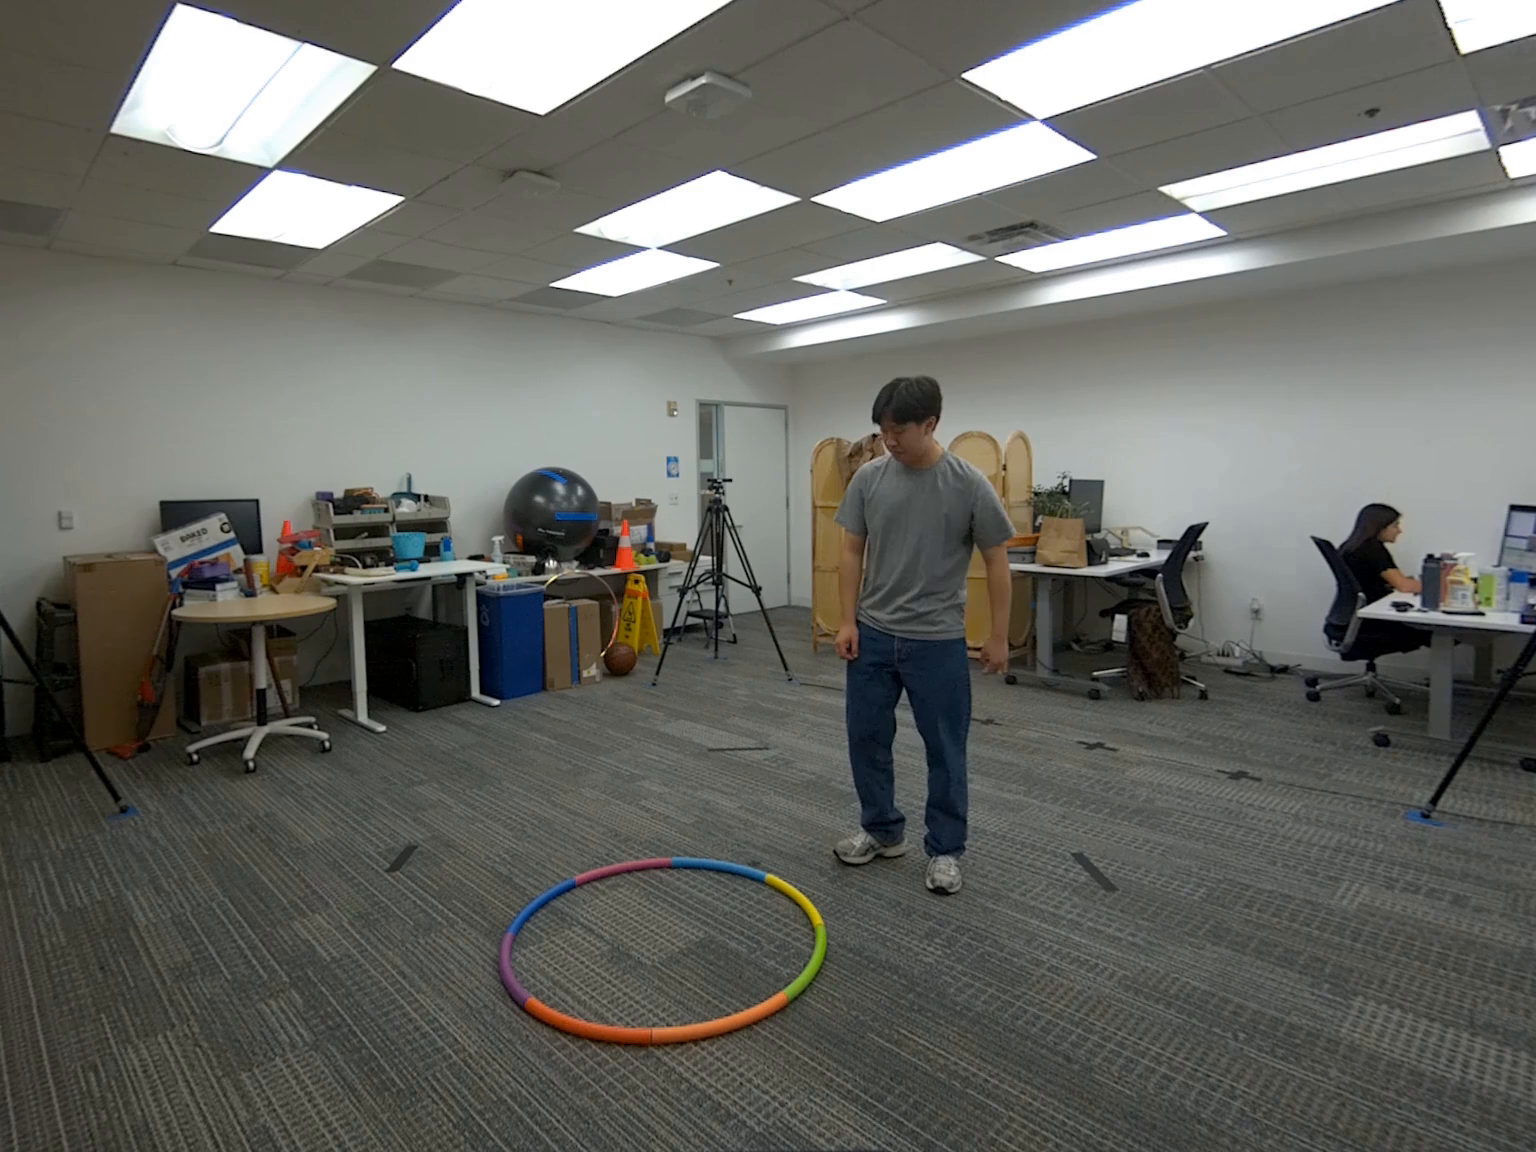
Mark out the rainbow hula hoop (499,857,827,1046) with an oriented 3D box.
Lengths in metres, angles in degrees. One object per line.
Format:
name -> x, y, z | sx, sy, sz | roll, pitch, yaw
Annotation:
rainbow hula hoop -> -0.313, 1.079, 2.611 | 0.978, 0.035, 0.984 | -2, 7, -2
